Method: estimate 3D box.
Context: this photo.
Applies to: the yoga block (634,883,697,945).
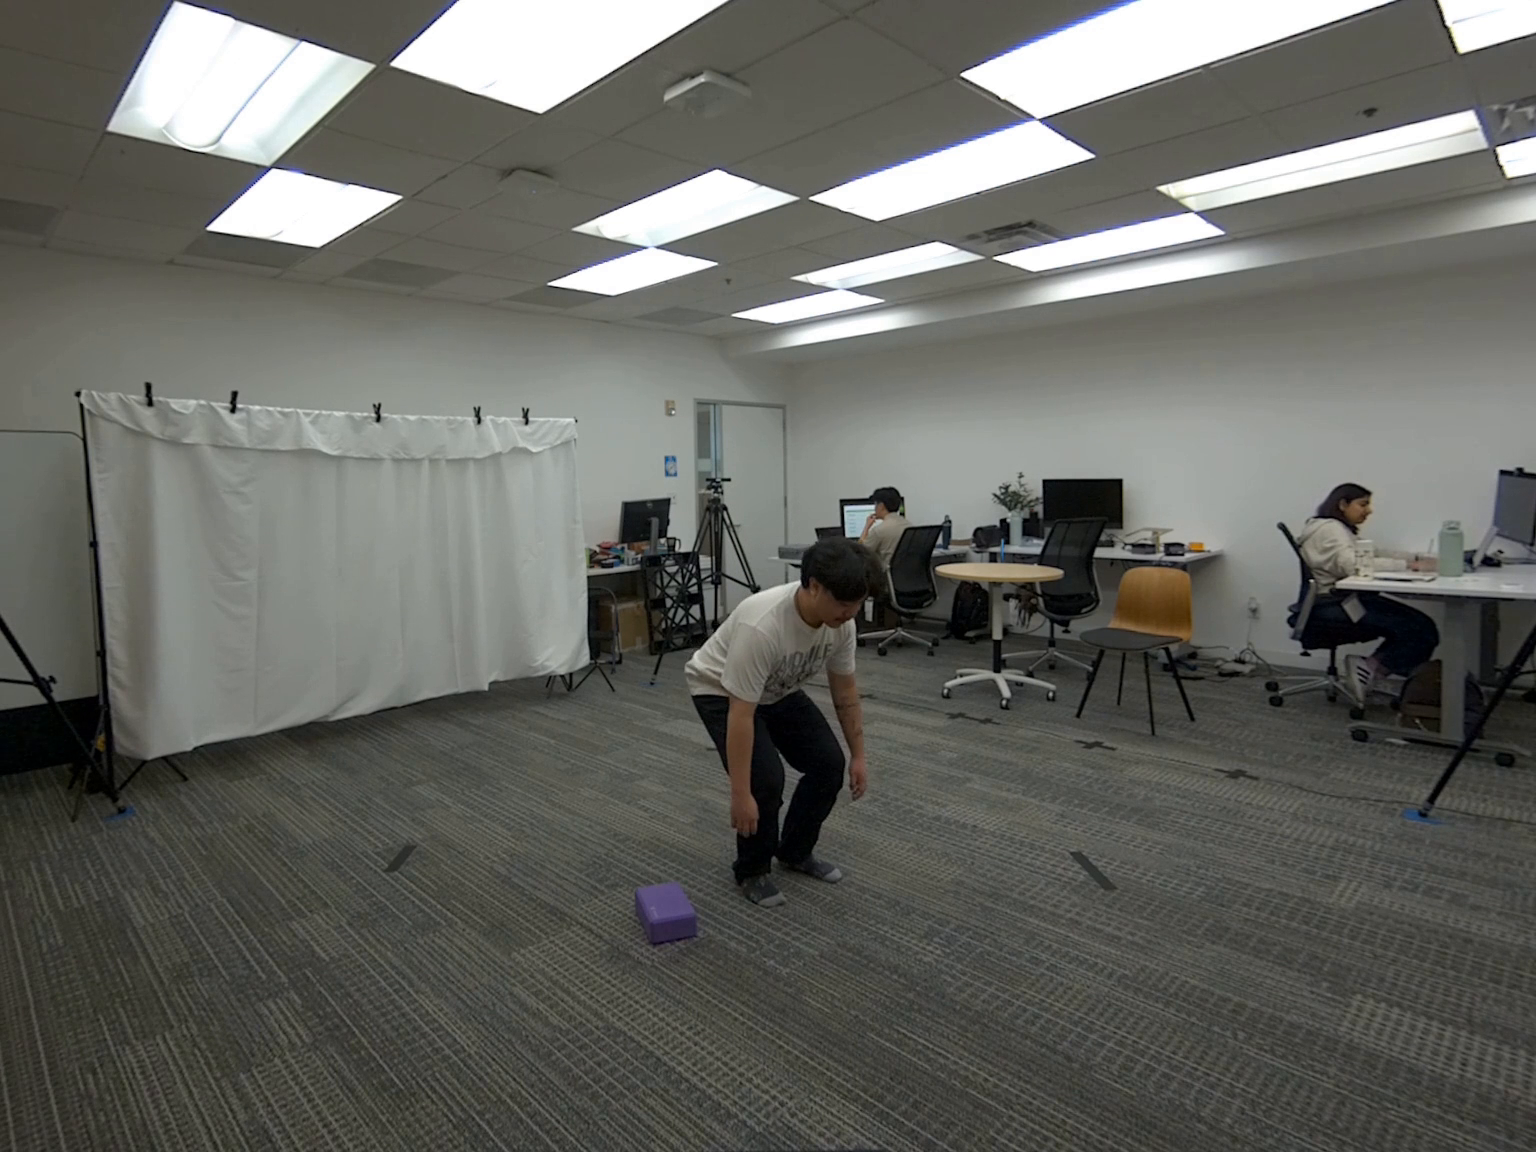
[{"bbox_3d":[-0.317,1.055,2.690,0.146,0.076,0.234,-3,7,-19],"label":"yoga block"}]
